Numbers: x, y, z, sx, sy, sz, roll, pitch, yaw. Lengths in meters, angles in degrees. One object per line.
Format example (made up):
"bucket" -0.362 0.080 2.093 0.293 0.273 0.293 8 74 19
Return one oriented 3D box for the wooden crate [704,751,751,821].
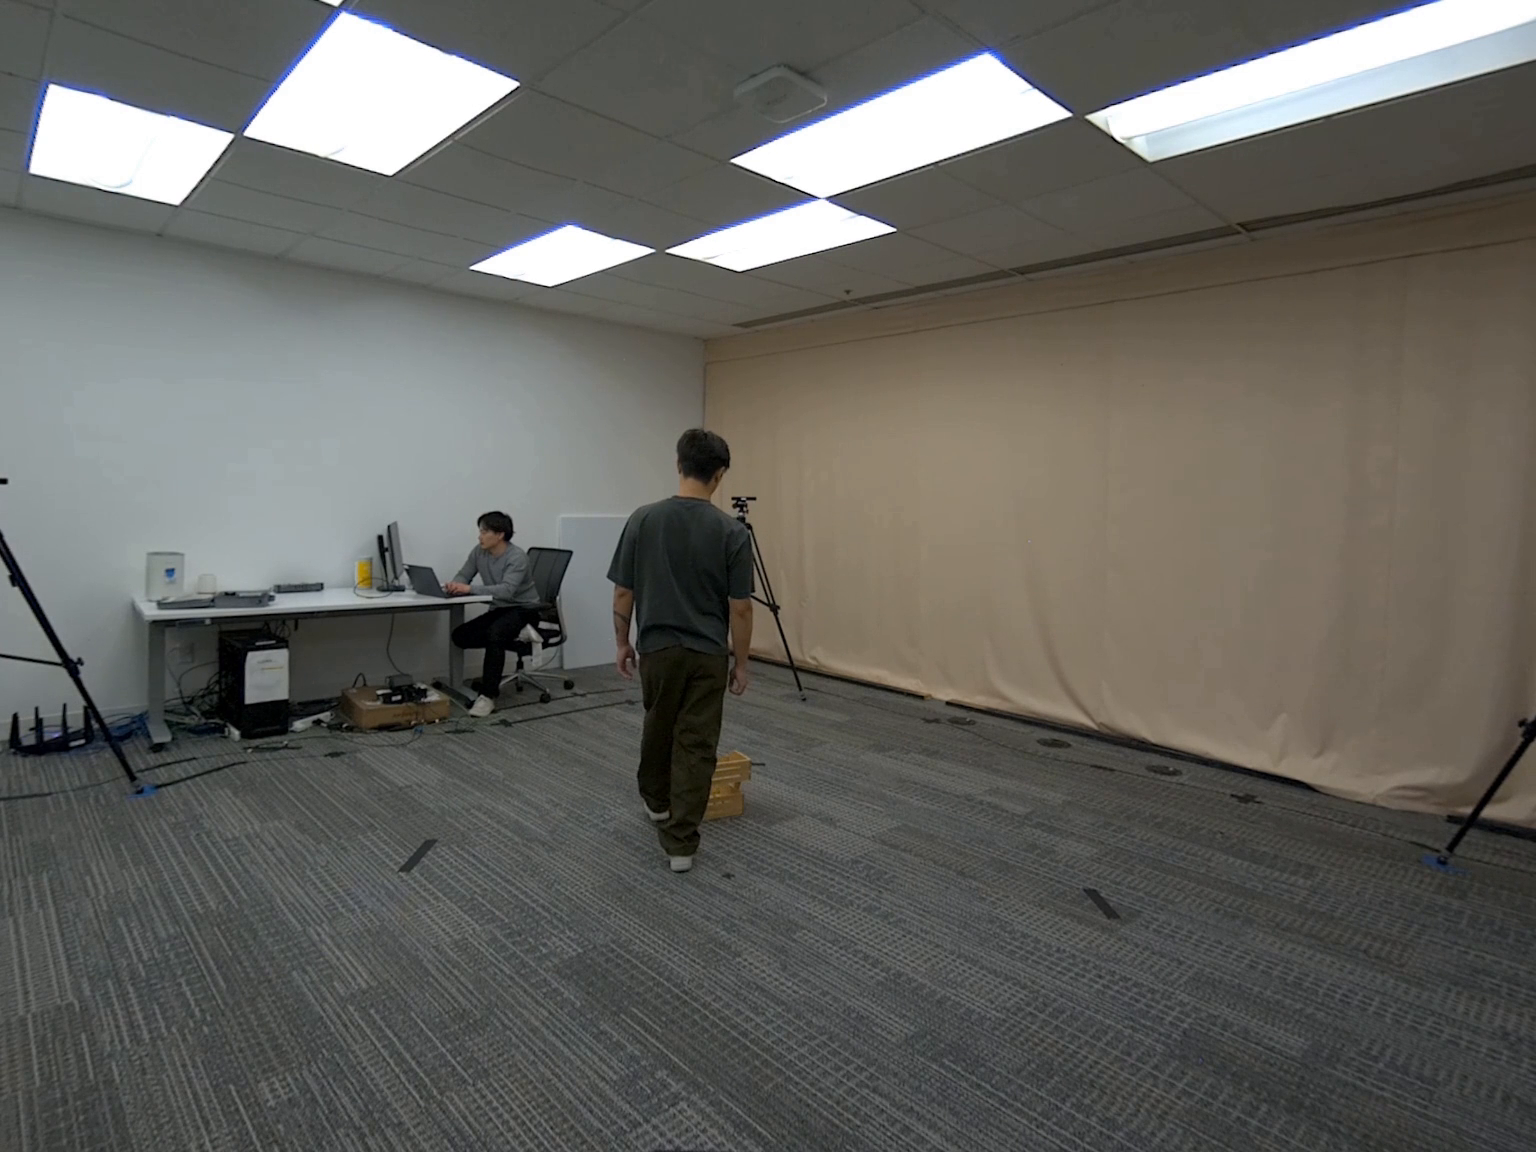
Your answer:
"wooden crate" -0.290 0.915 3.743 0.318 0.272 0.309 -1 5 -29
